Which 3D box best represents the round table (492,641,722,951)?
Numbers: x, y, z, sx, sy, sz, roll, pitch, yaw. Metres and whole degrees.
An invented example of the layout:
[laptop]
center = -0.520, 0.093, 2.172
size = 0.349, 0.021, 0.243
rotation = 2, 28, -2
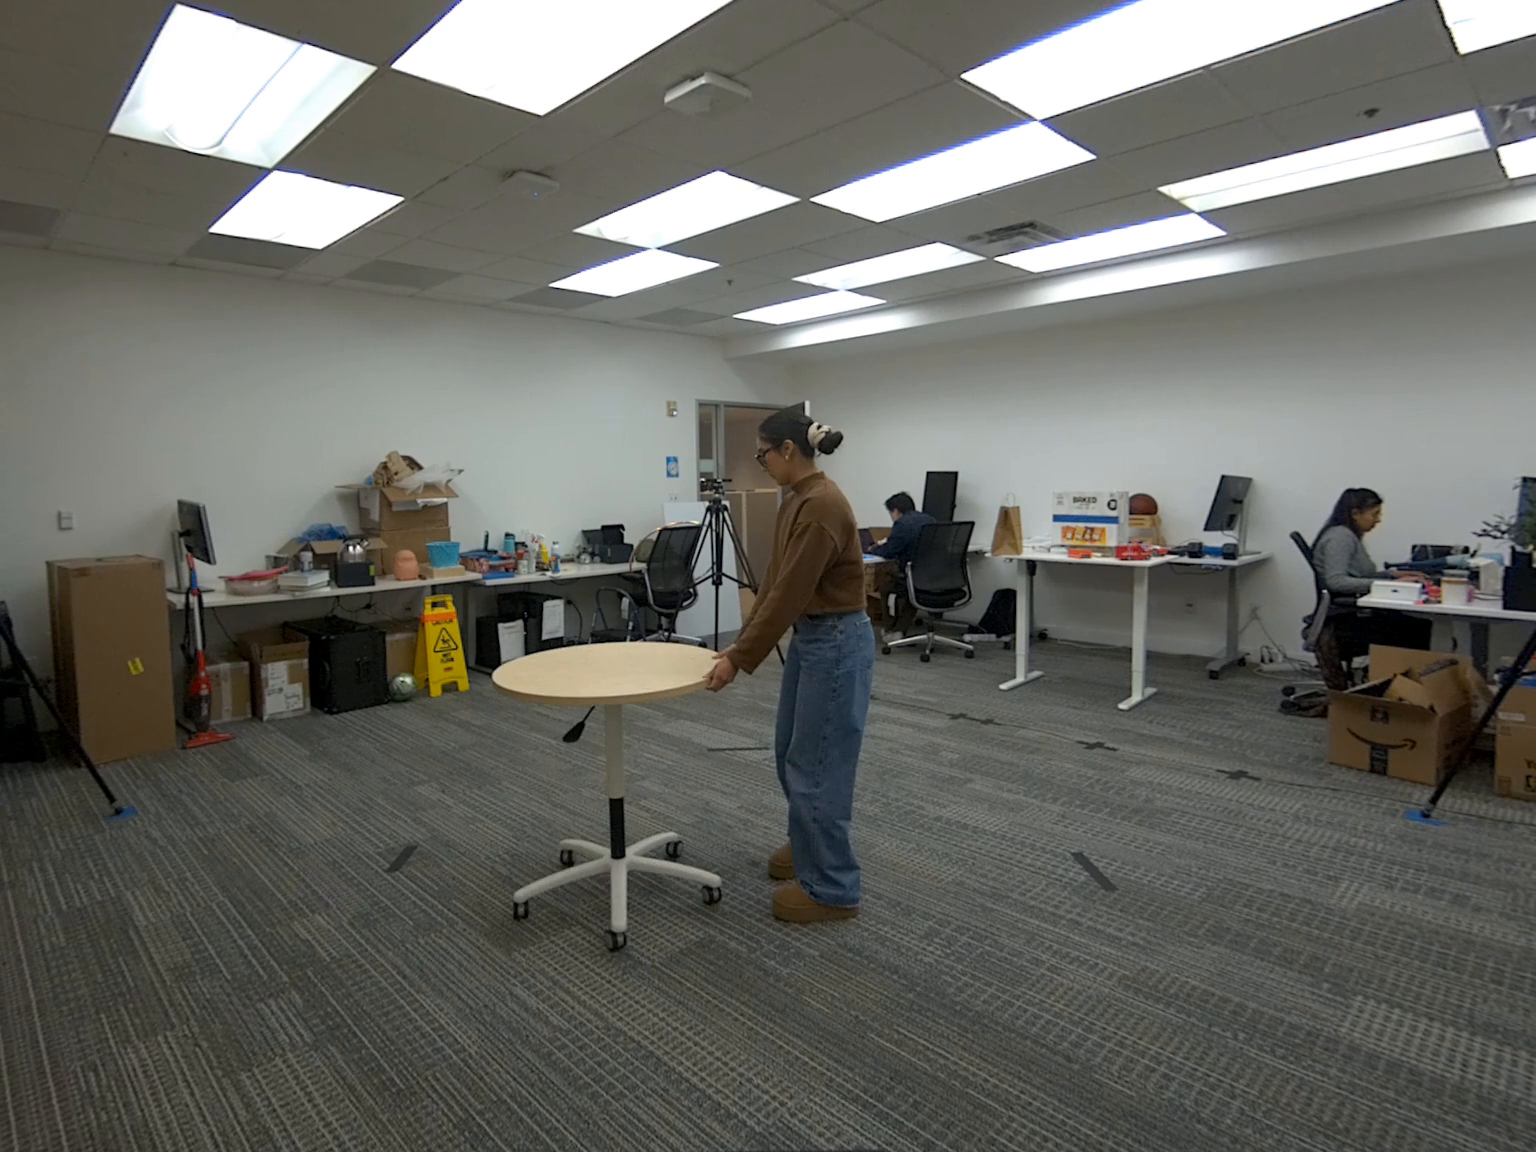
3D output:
[round table]
center = -0.484, 0.683, 2.863
size = 0.784, 0.783, 0.790
rotation = -1, 6, -2
